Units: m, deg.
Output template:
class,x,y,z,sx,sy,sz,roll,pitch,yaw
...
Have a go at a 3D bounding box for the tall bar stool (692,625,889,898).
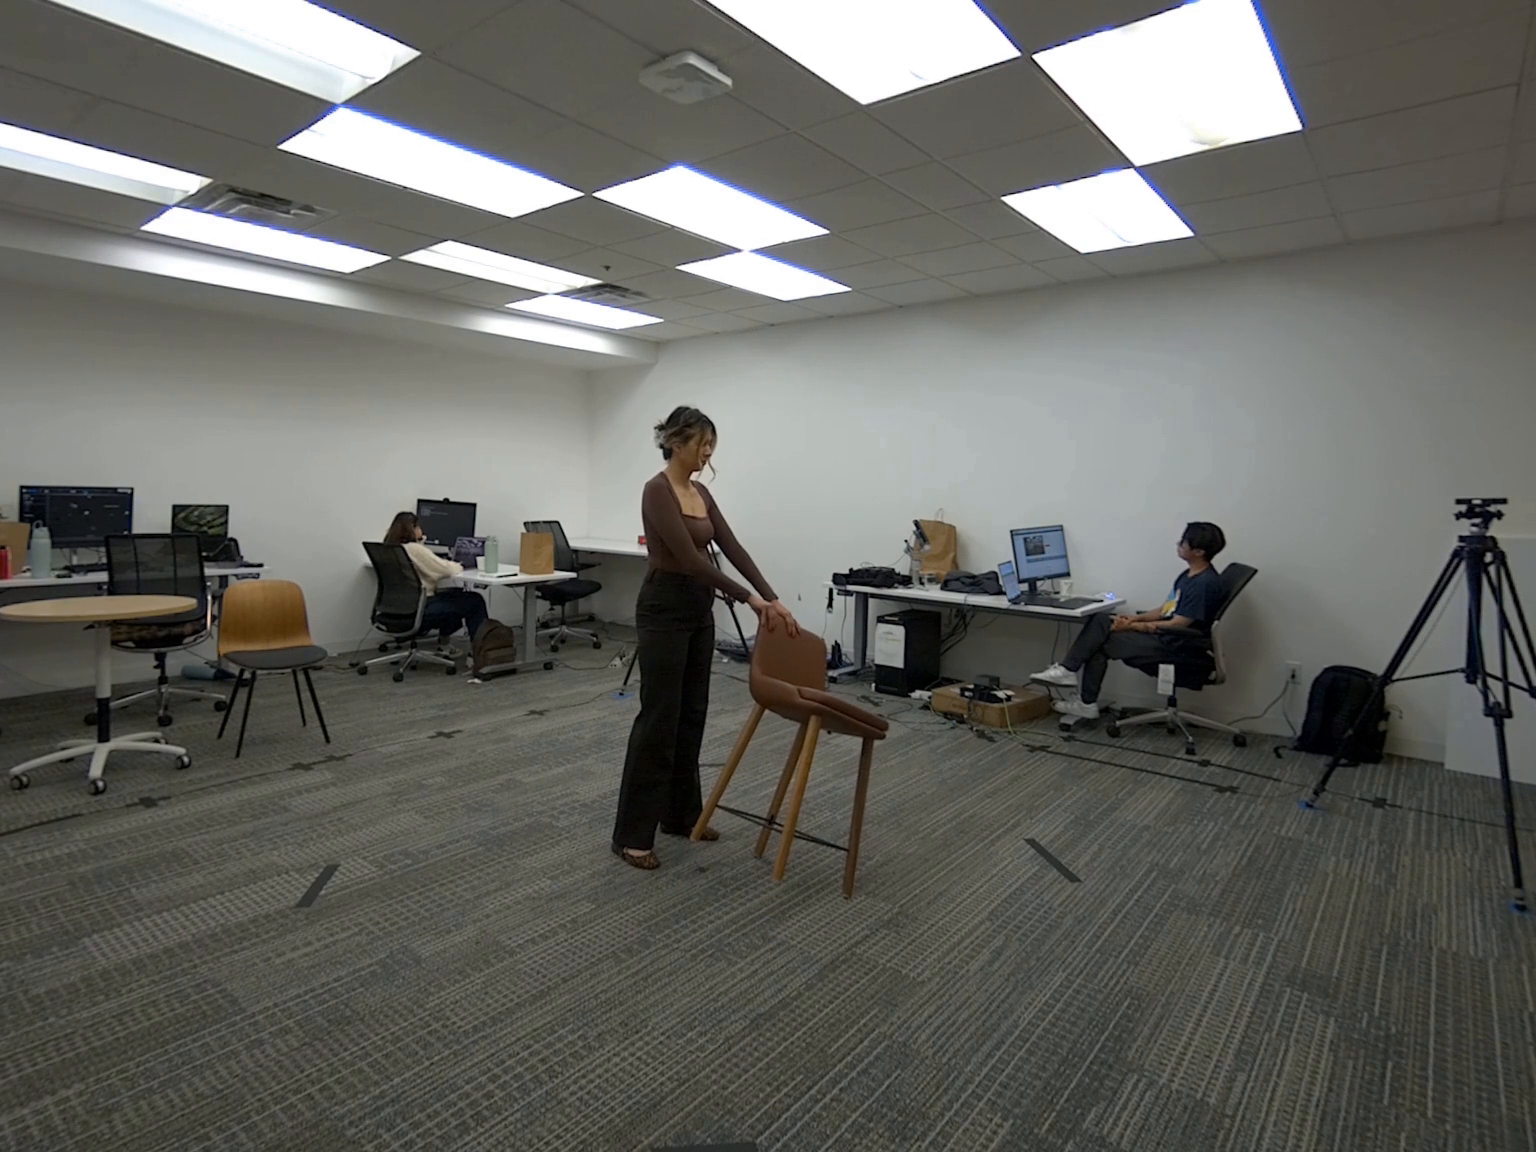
class,x,y,z,sx,sy,sz,roll,pitch,yaw
tall bar stool,0.120,0.606,3.070,0.483,0.898,0.438,0,-22,45
